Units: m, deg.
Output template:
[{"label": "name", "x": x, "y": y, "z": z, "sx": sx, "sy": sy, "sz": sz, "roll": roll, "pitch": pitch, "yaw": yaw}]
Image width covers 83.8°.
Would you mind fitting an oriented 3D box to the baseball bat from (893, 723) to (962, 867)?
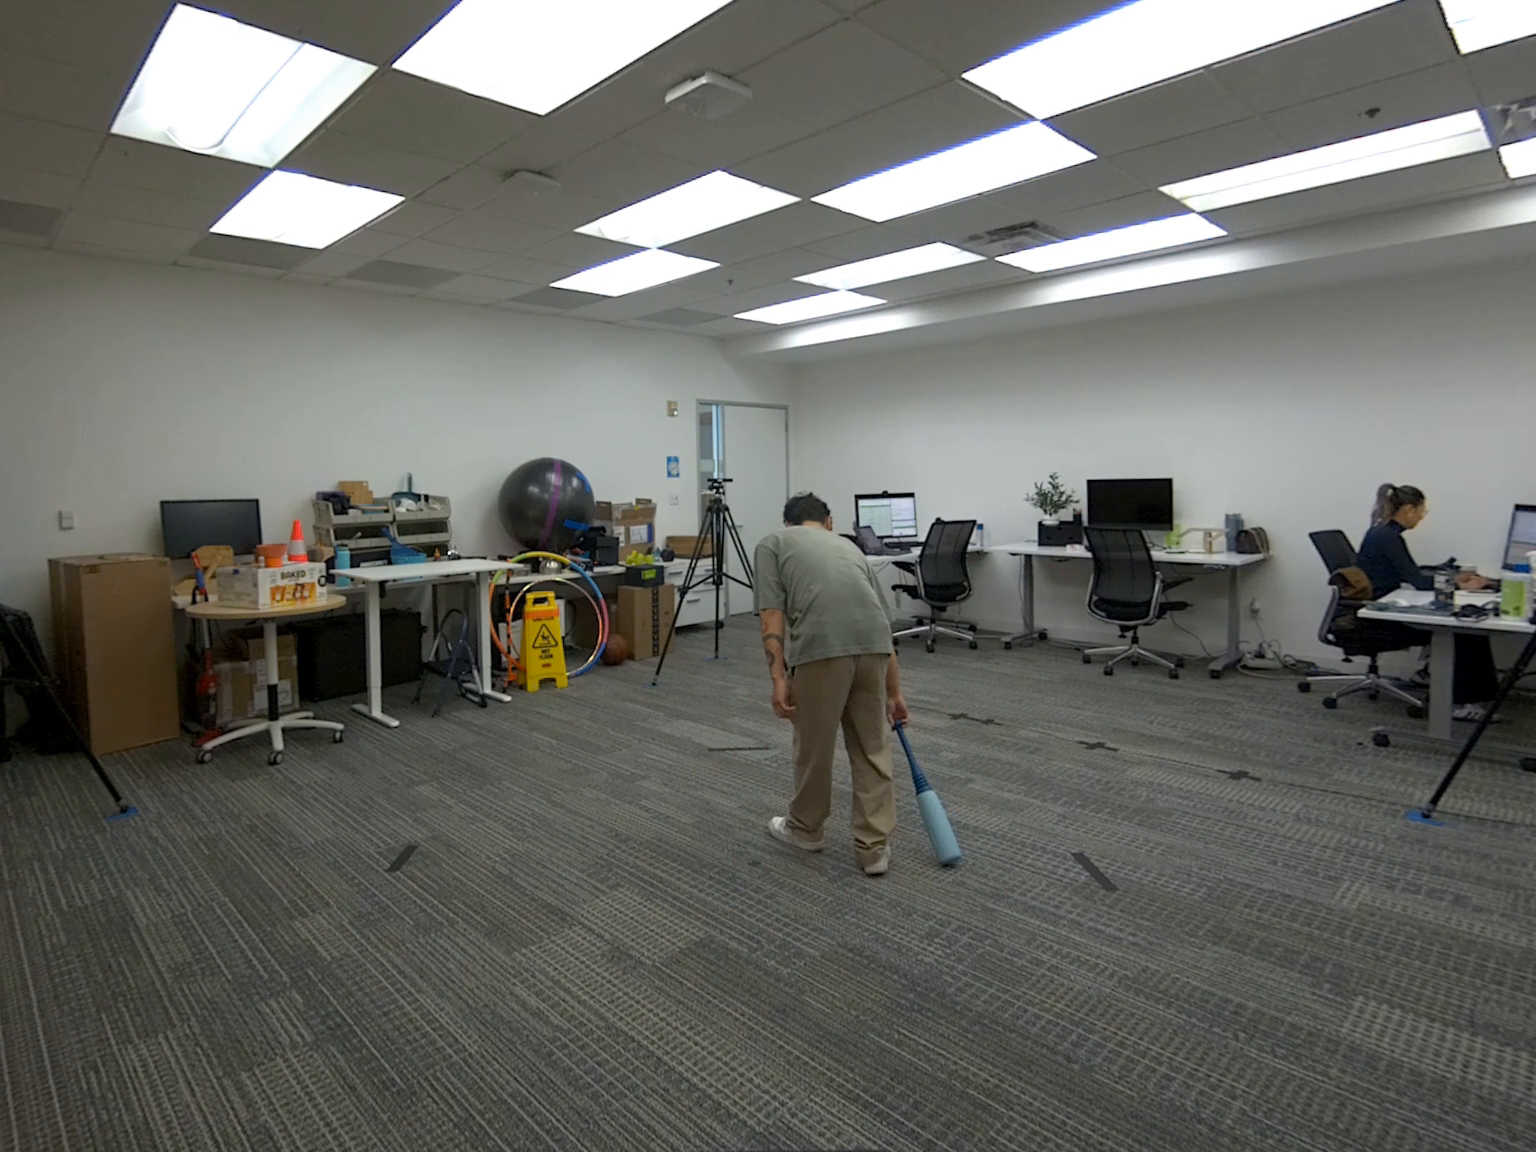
[{"label": "baseball bat", "x": 0.576, "y": 0.793, "z": 3.187, "sx": 0.088, "sy": 0.560, "sz": 0.087, "roll": -12, "pitch": -33, "yaw": -9}]
